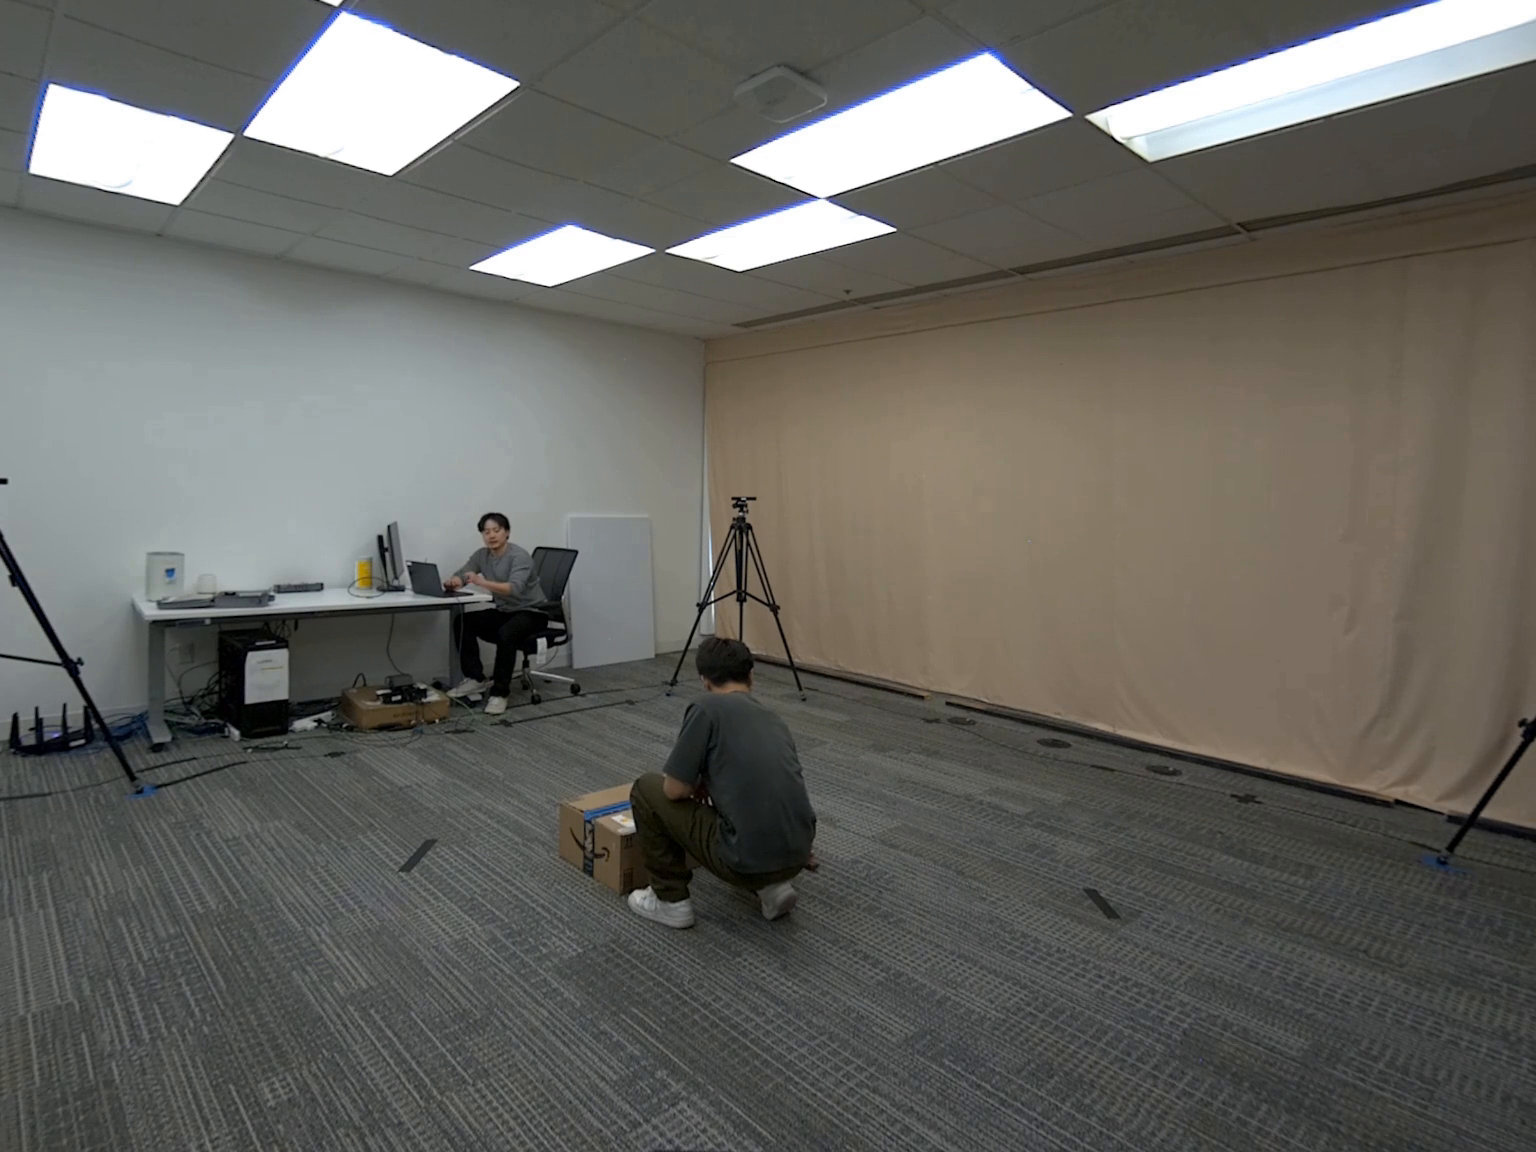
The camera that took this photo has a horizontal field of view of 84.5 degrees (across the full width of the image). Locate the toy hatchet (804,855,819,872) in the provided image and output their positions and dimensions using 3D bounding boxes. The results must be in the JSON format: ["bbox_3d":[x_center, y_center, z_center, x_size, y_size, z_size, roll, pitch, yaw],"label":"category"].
[{"bbox_3d":[0.150,1.090,3.289,0.129,0.029,0.275,-1,6,-22],"label":"toy hatchet"}]
